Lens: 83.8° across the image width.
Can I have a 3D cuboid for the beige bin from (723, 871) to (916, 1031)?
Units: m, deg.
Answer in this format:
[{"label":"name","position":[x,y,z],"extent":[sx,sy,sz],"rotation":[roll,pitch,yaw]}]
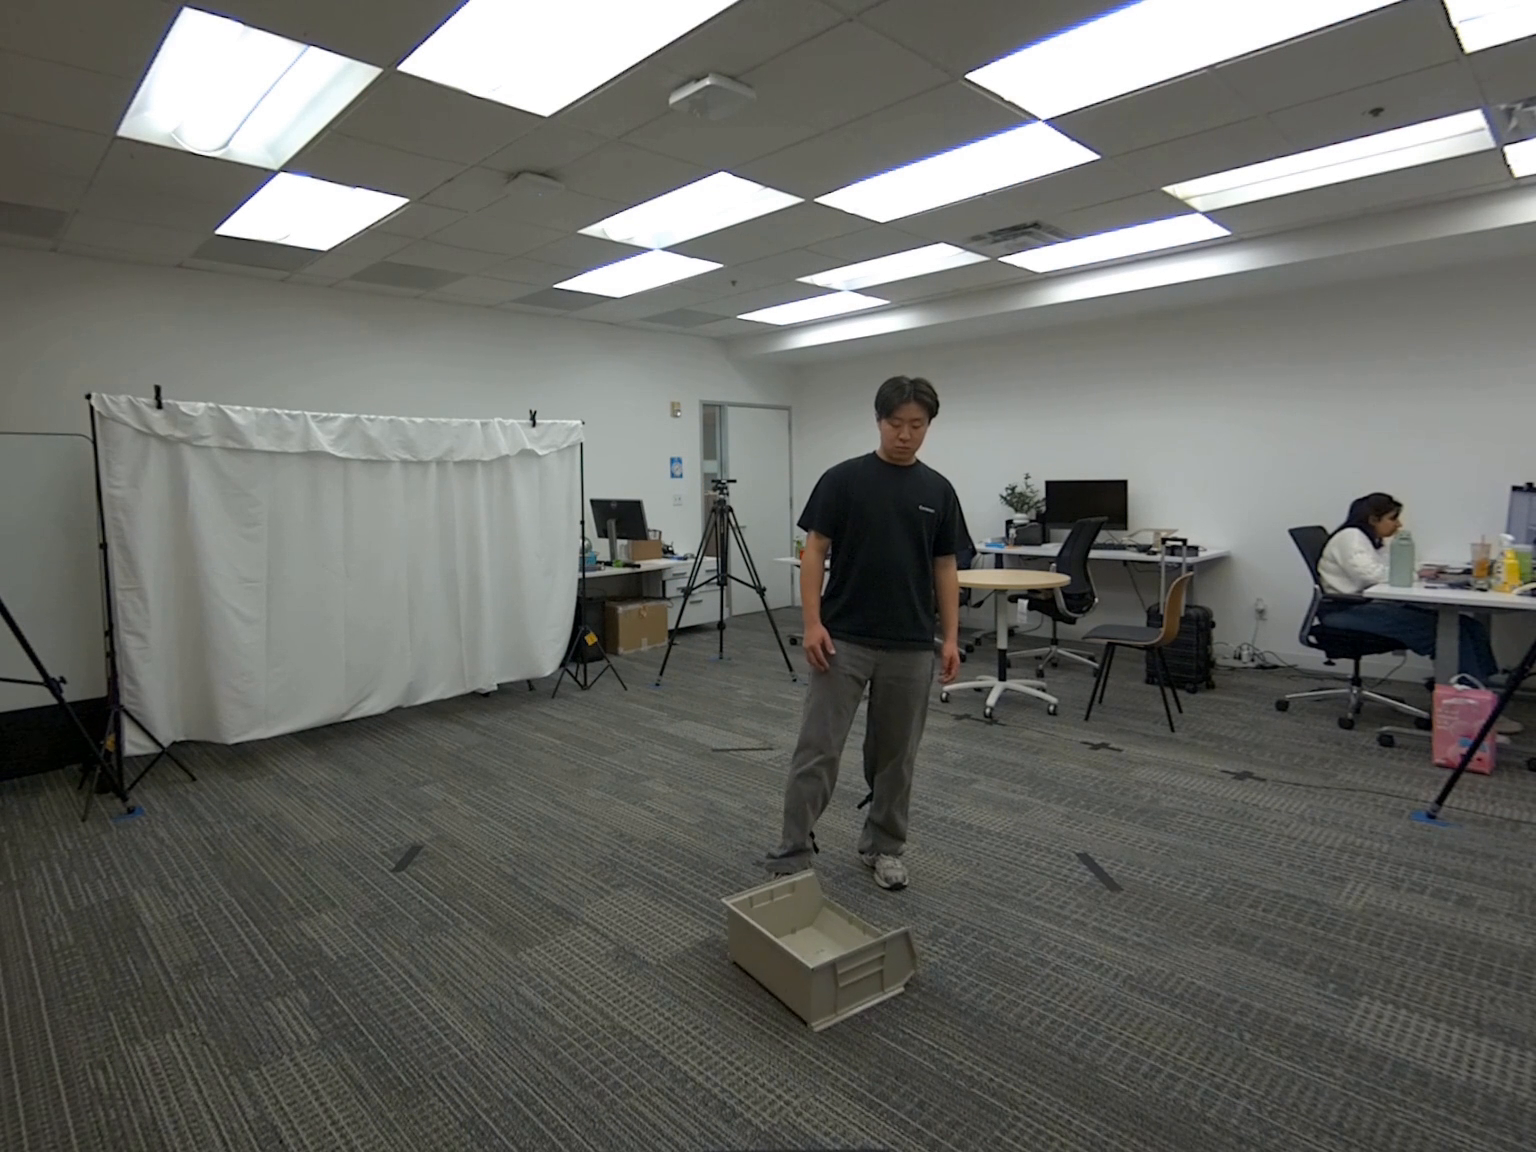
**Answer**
[{"label":"beige bin","position":[0.146,1.036,2.416],"extent":[0.368,0.188,0.435],"rotation":[-6,8,-34]}]
